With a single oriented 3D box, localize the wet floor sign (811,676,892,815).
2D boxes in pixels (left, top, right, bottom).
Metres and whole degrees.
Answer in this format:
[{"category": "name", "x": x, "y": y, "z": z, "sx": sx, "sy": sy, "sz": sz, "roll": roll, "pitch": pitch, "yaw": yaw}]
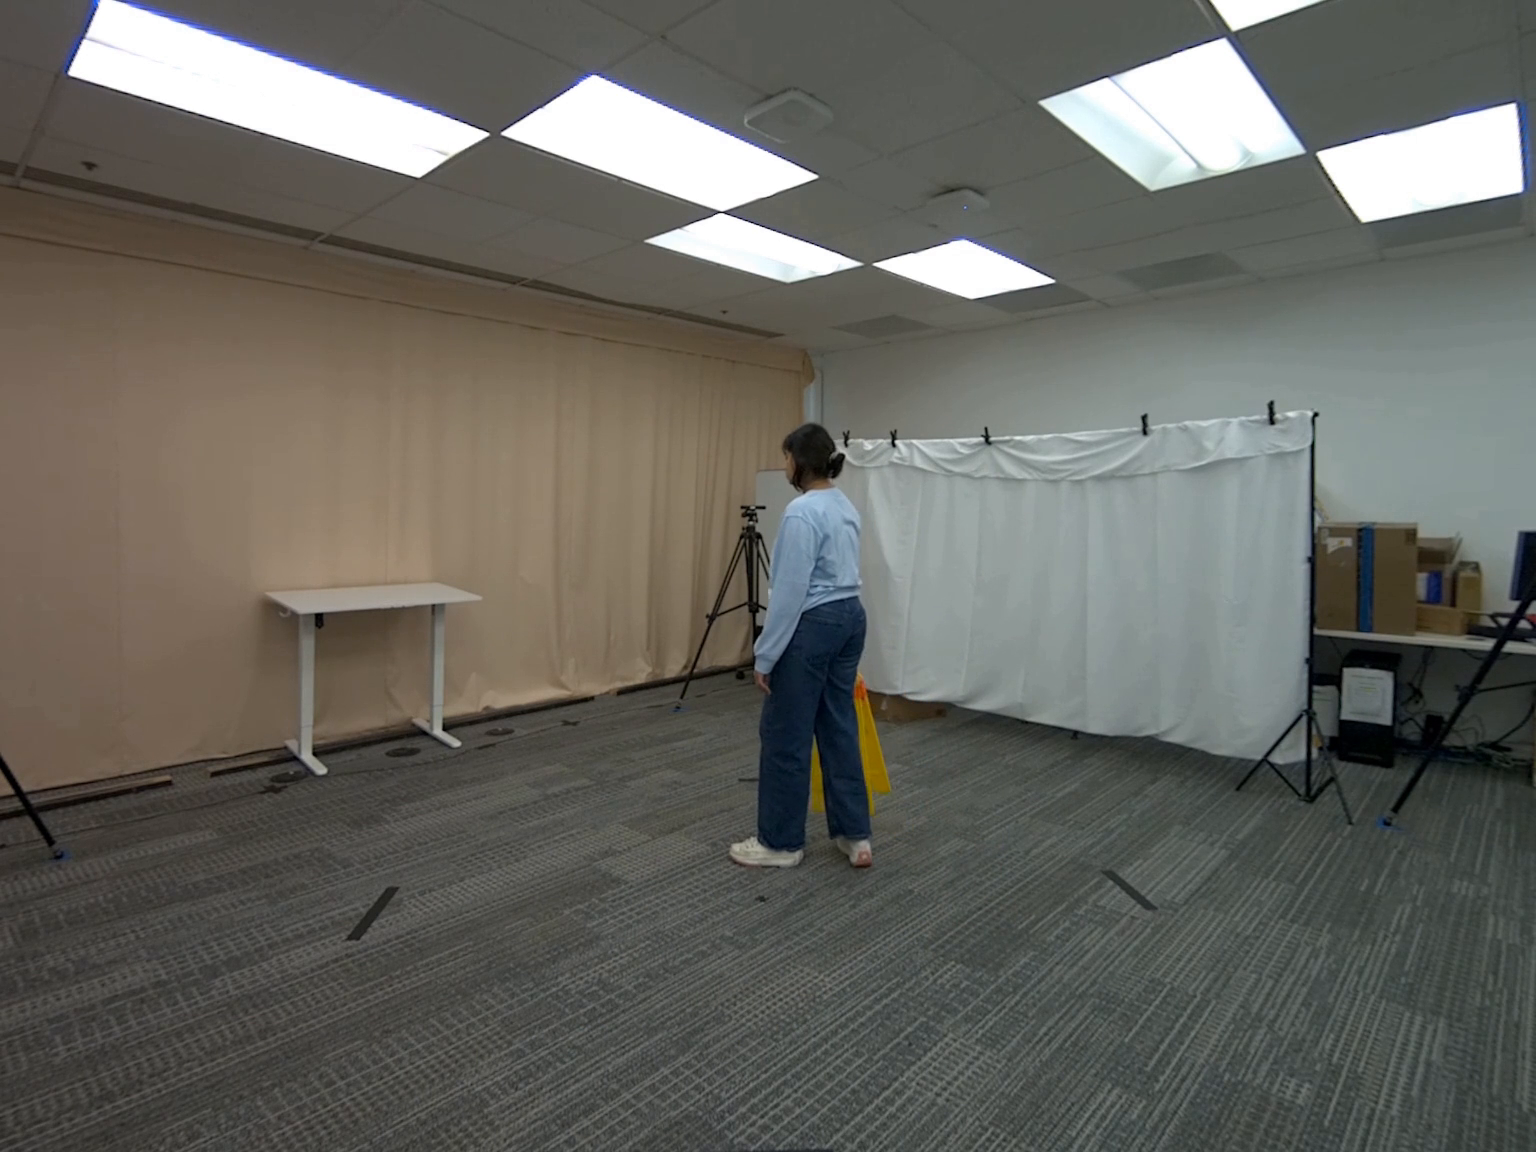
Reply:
[{"category": "wet floor sign", "x": 0.322, "y": 0.666, "z": 3.641, "sx": 0.290, "sy": 0.643, "sz": 0.283, "roll": -4, "pitch": 6, "yaw": 29}]
